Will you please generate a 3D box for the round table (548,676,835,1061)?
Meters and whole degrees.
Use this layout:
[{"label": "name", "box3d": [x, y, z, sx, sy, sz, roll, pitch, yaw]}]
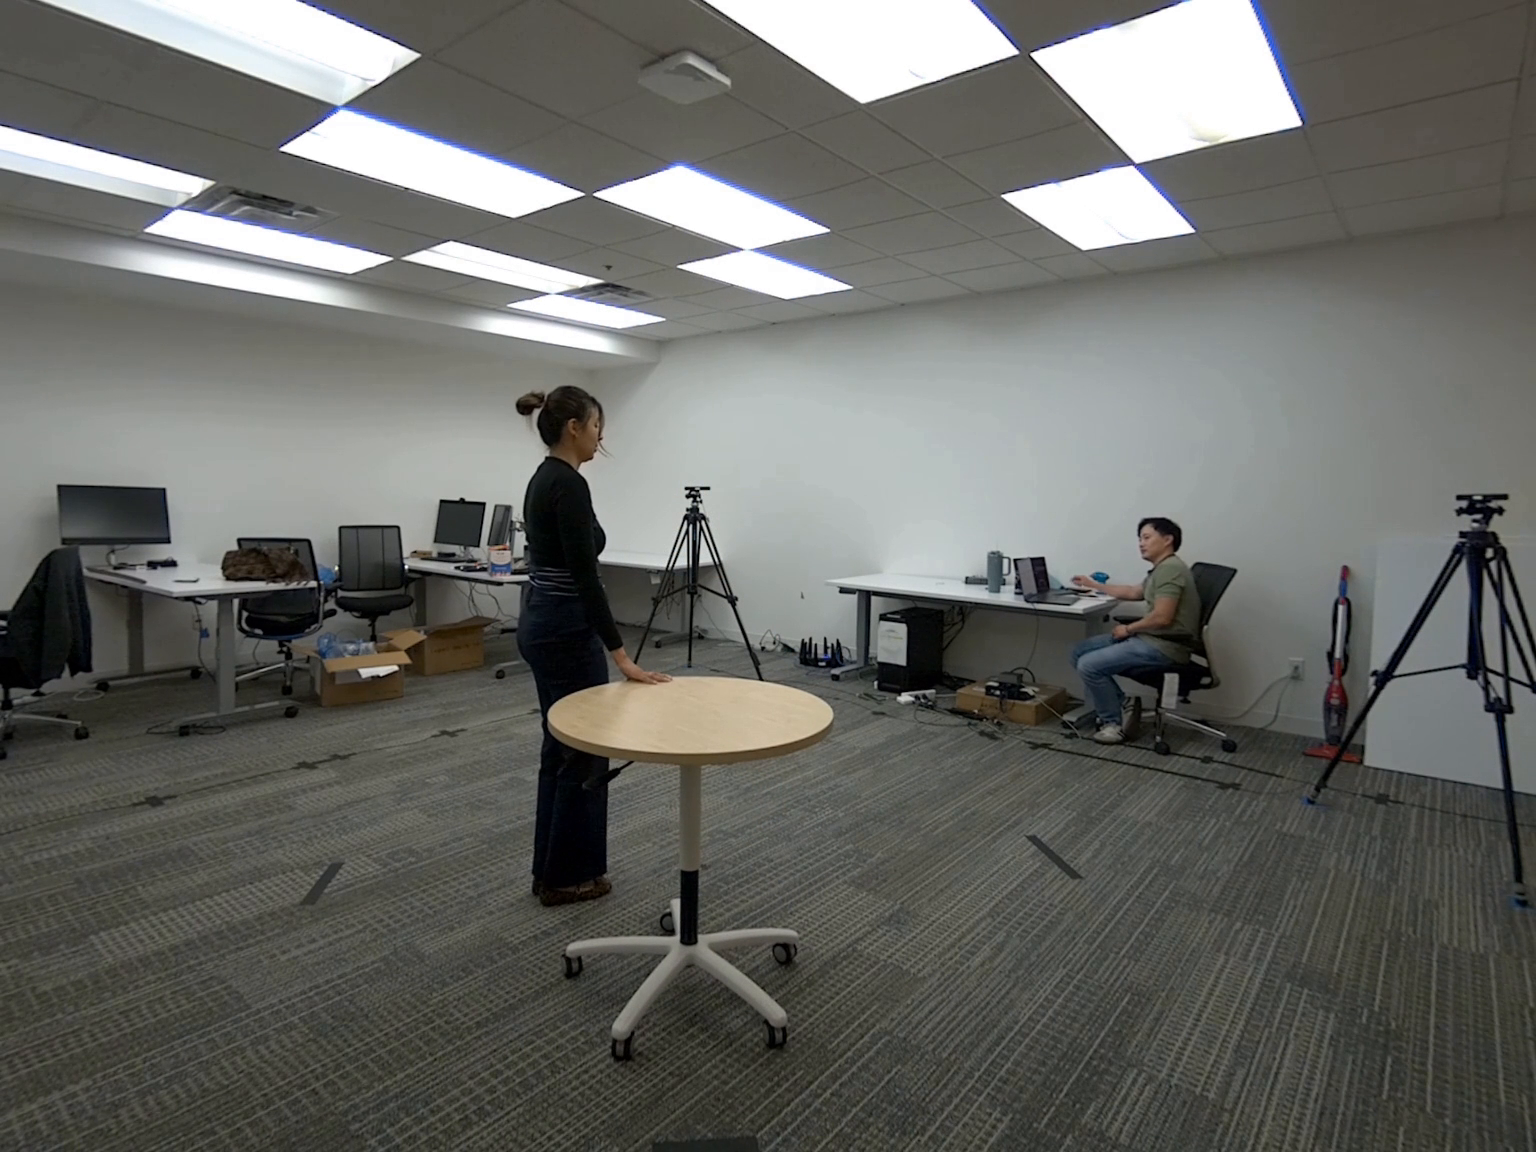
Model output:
[{"label": "round table", "box3d": [-0.218, 0.750, 2.334, 0.763, 0.790, 0.769, 0, 5, -2]}]
